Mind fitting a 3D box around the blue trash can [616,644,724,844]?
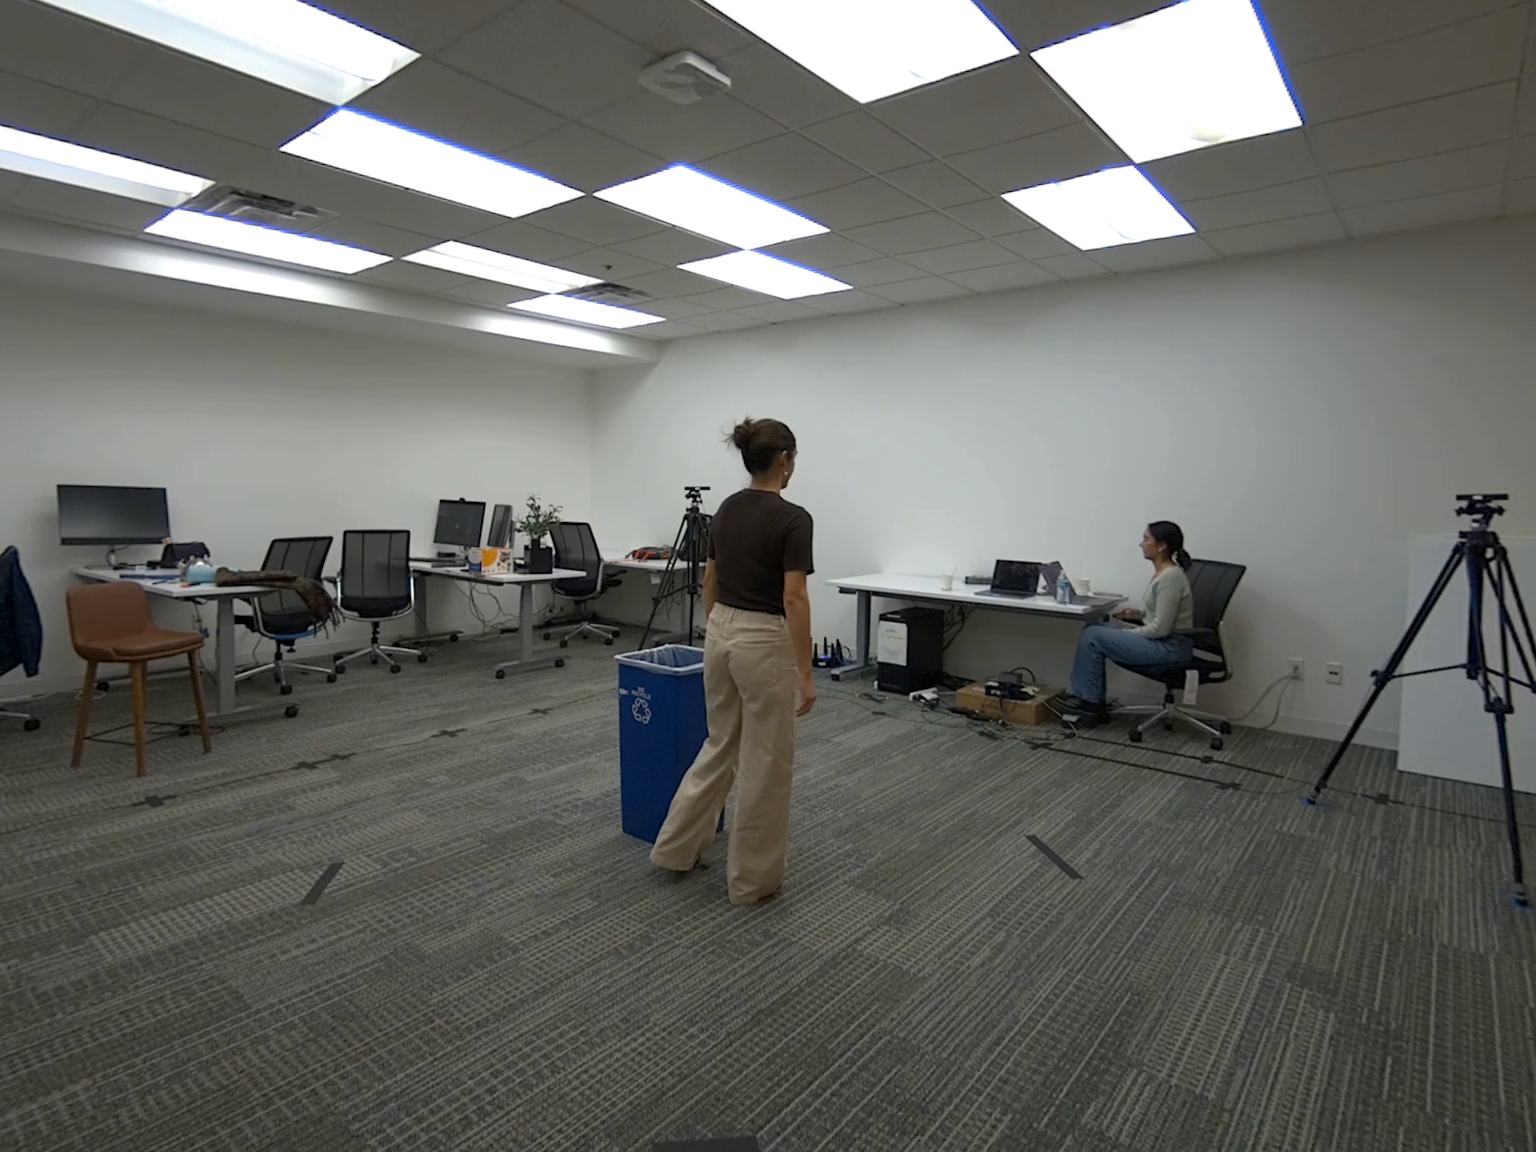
[{"bbox_3d":[-0.383,0.672,3.430,0.386,0.711,0.367,3,4,38],"label":"blue trash can"}]
